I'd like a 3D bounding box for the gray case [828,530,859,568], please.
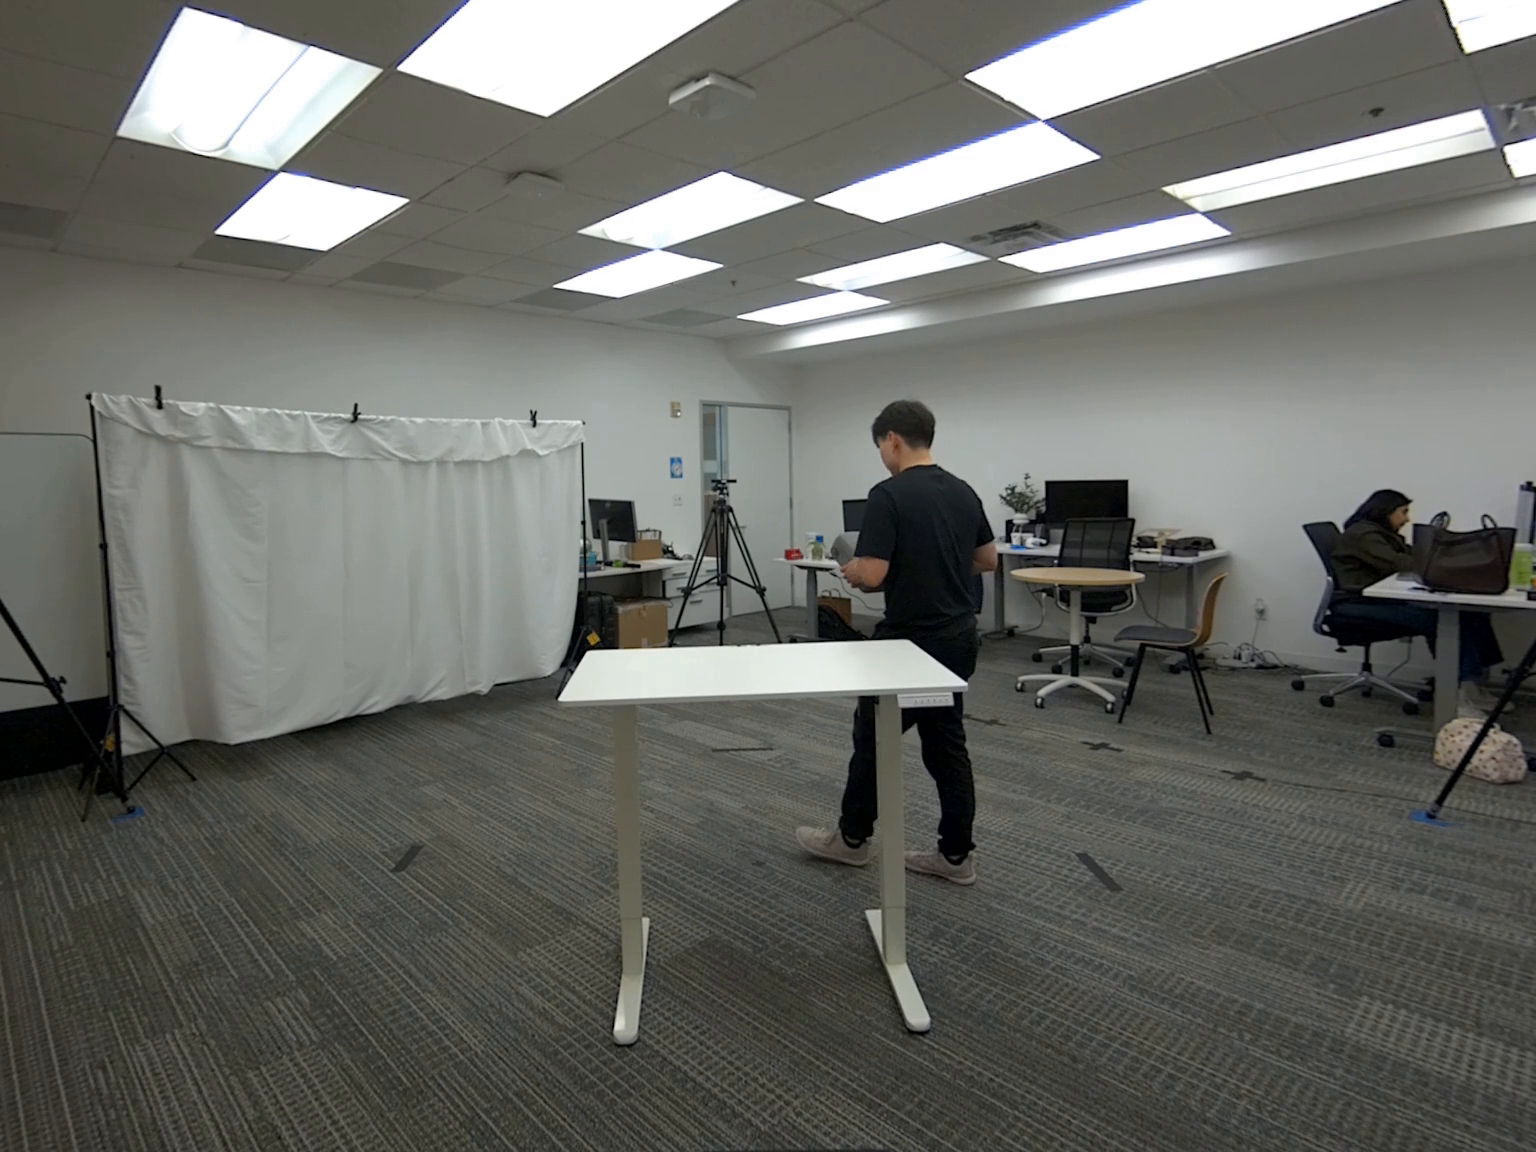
[{"bbox_3d":[0.388,-0.069,3.182,0.250,0.103,0.271,-3,40,-35],"label":"gray case"}]
